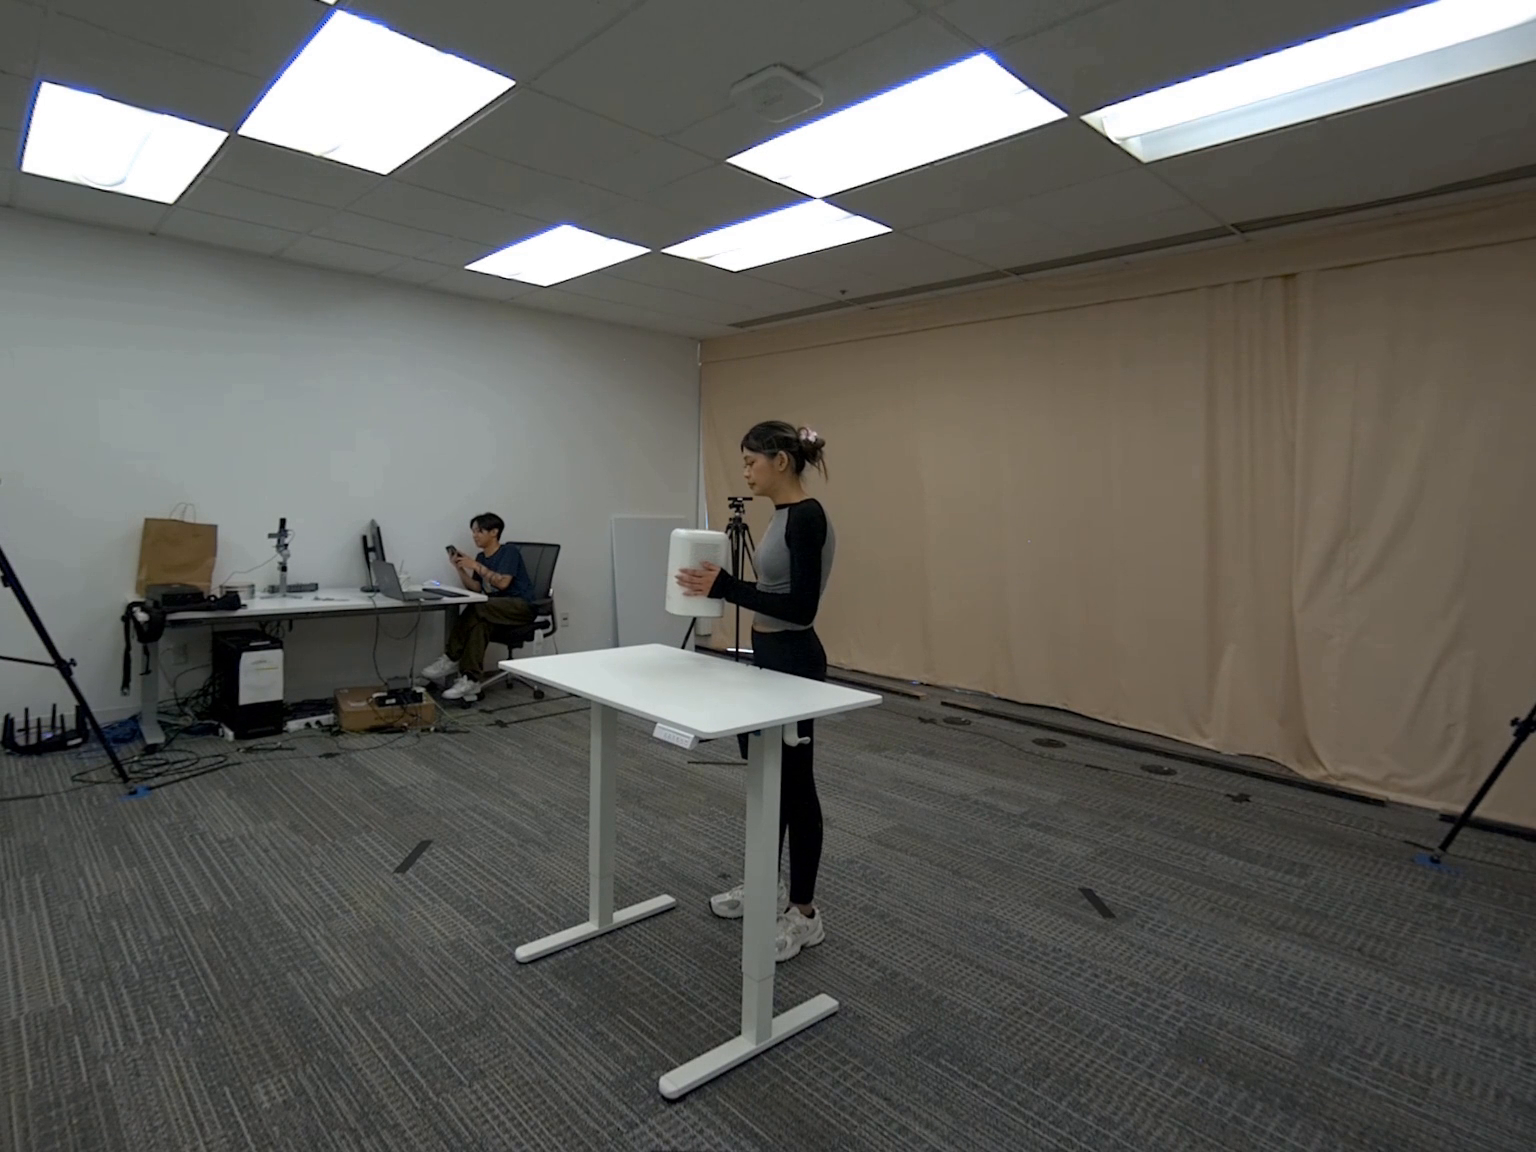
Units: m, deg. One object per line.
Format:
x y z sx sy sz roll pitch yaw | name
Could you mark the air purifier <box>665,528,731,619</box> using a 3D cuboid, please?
-0.220 -0.012 2.653 0.169 0.265 0.174 3 3 -19 | air purifier
